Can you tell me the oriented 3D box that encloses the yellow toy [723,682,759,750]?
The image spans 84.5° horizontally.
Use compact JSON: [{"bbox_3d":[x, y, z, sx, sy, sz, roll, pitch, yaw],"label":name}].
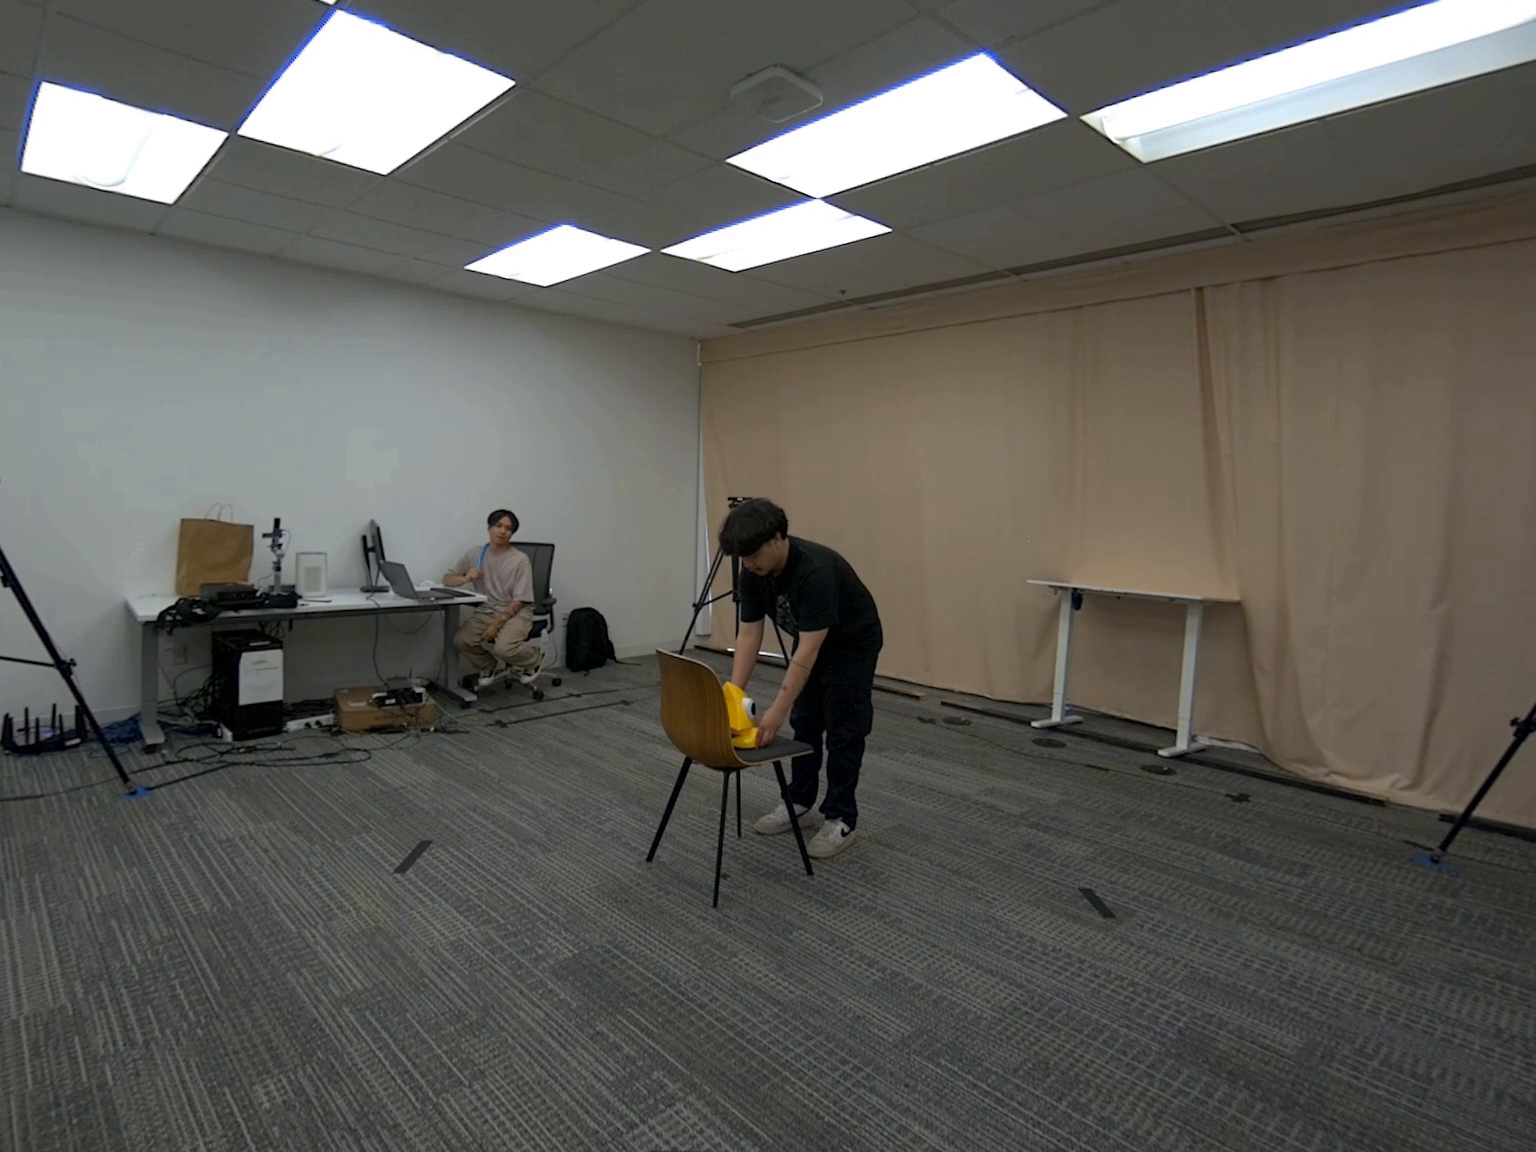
[{"bbox_3d":[-0.123,0.501,3.149,0.189,0.229,0.210,-6,9,-41],"label":"yellow toy"}]
